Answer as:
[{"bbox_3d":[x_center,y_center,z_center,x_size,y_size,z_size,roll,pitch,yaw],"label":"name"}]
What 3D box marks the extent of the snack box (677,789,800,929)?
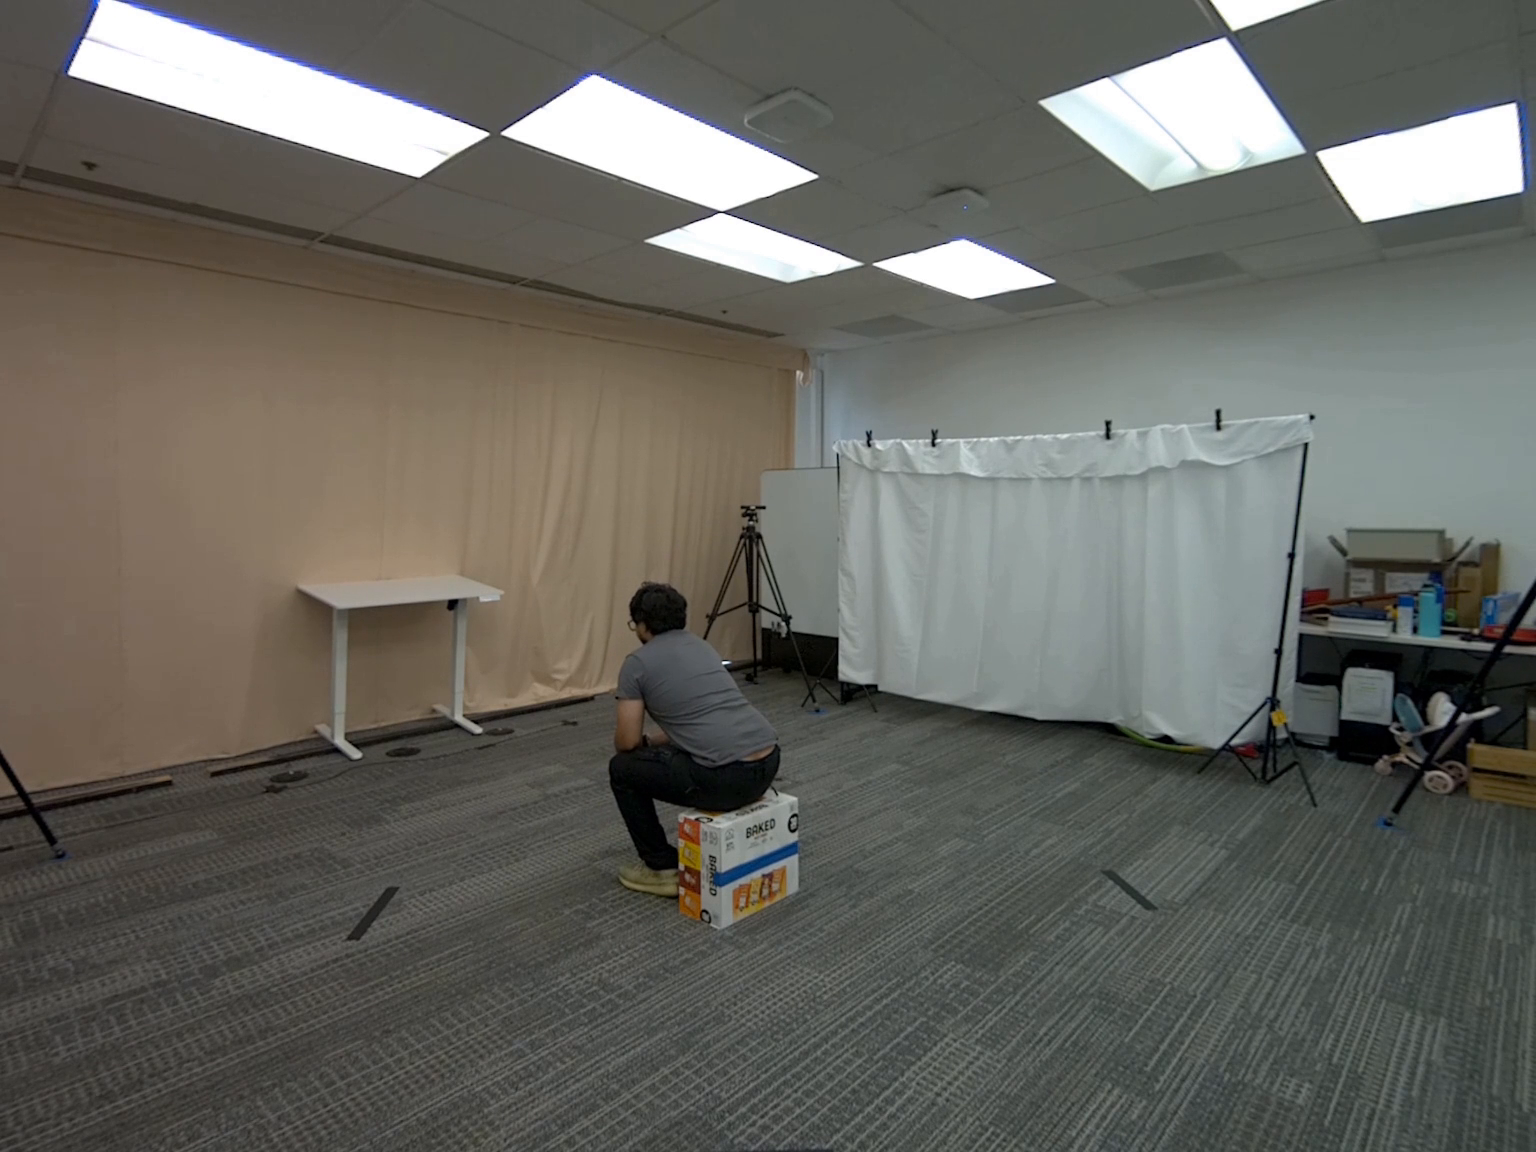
[{"bbox_3d":[-0.093,0.978,2.964,0.212,0.340,0.393,2,4,43],"label":"snack box"}]
